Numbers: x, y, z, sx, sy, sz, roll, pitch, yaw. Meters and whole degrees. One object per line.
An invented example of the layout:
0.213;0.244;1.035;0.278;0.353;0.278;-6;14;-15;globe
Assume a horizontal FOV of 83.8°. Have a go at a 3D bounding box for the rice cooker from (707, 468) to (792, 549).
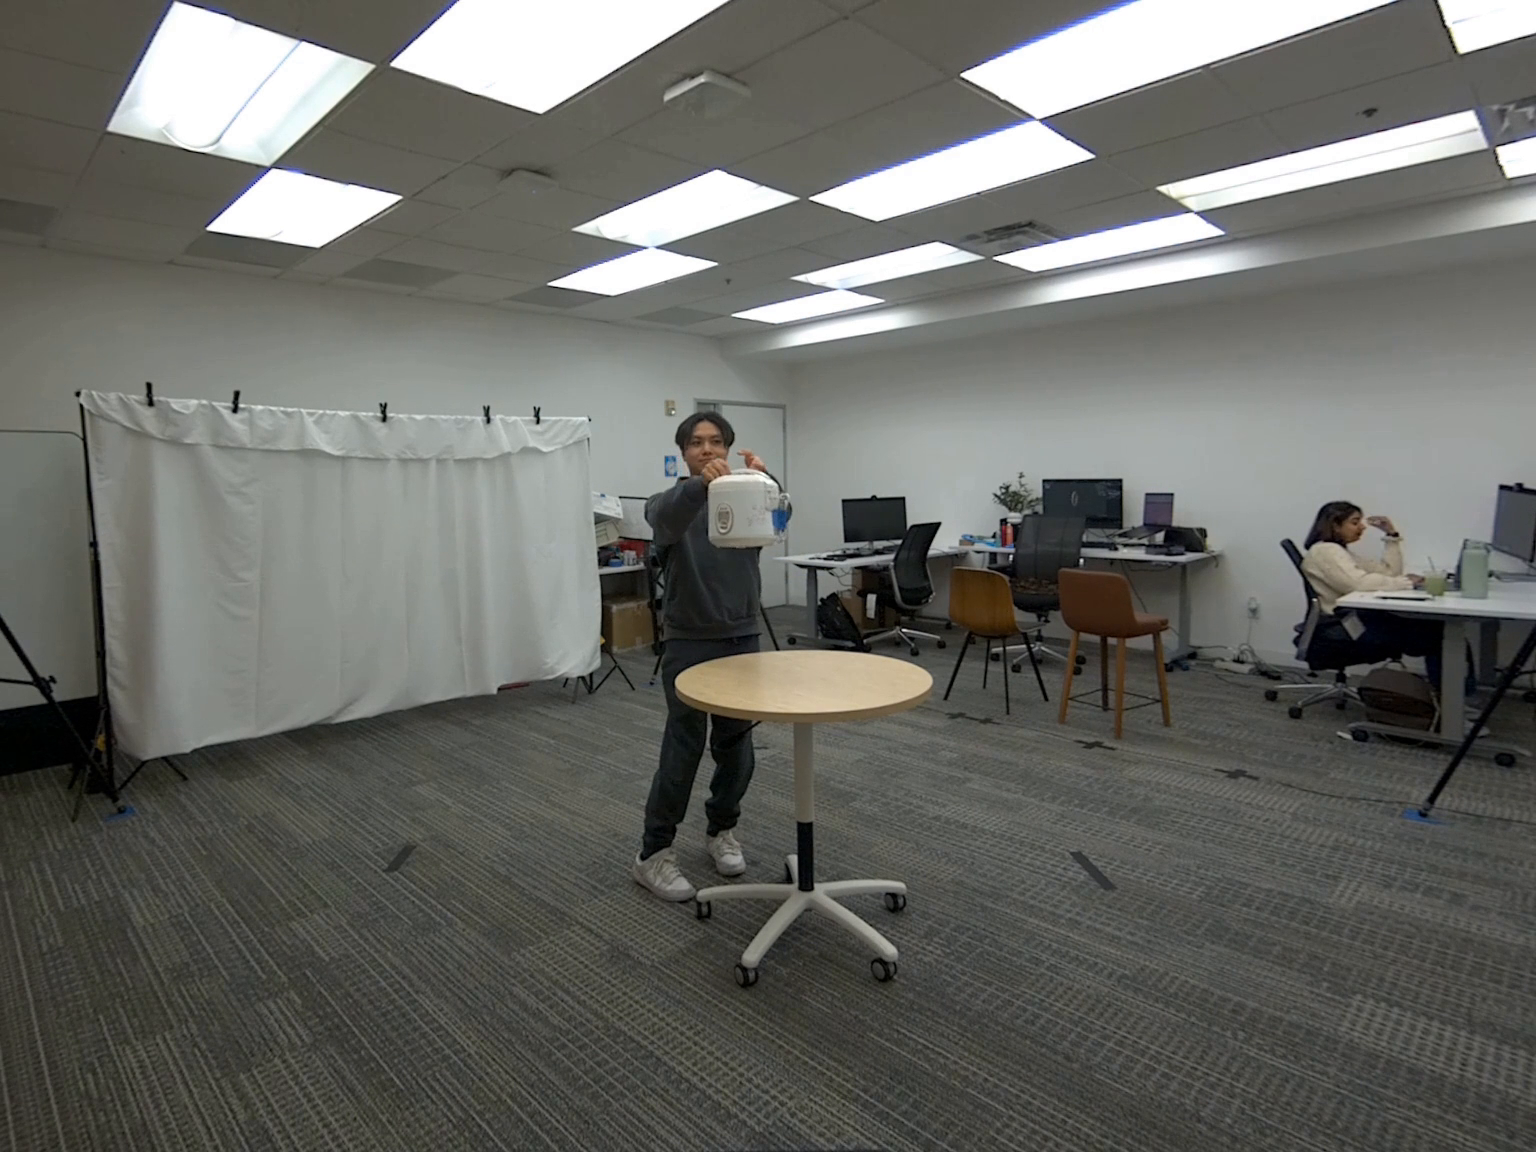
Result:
-0.074;-0.203;2.551;0.226;0.233;0.211;-2;-2;32;rice cooker
